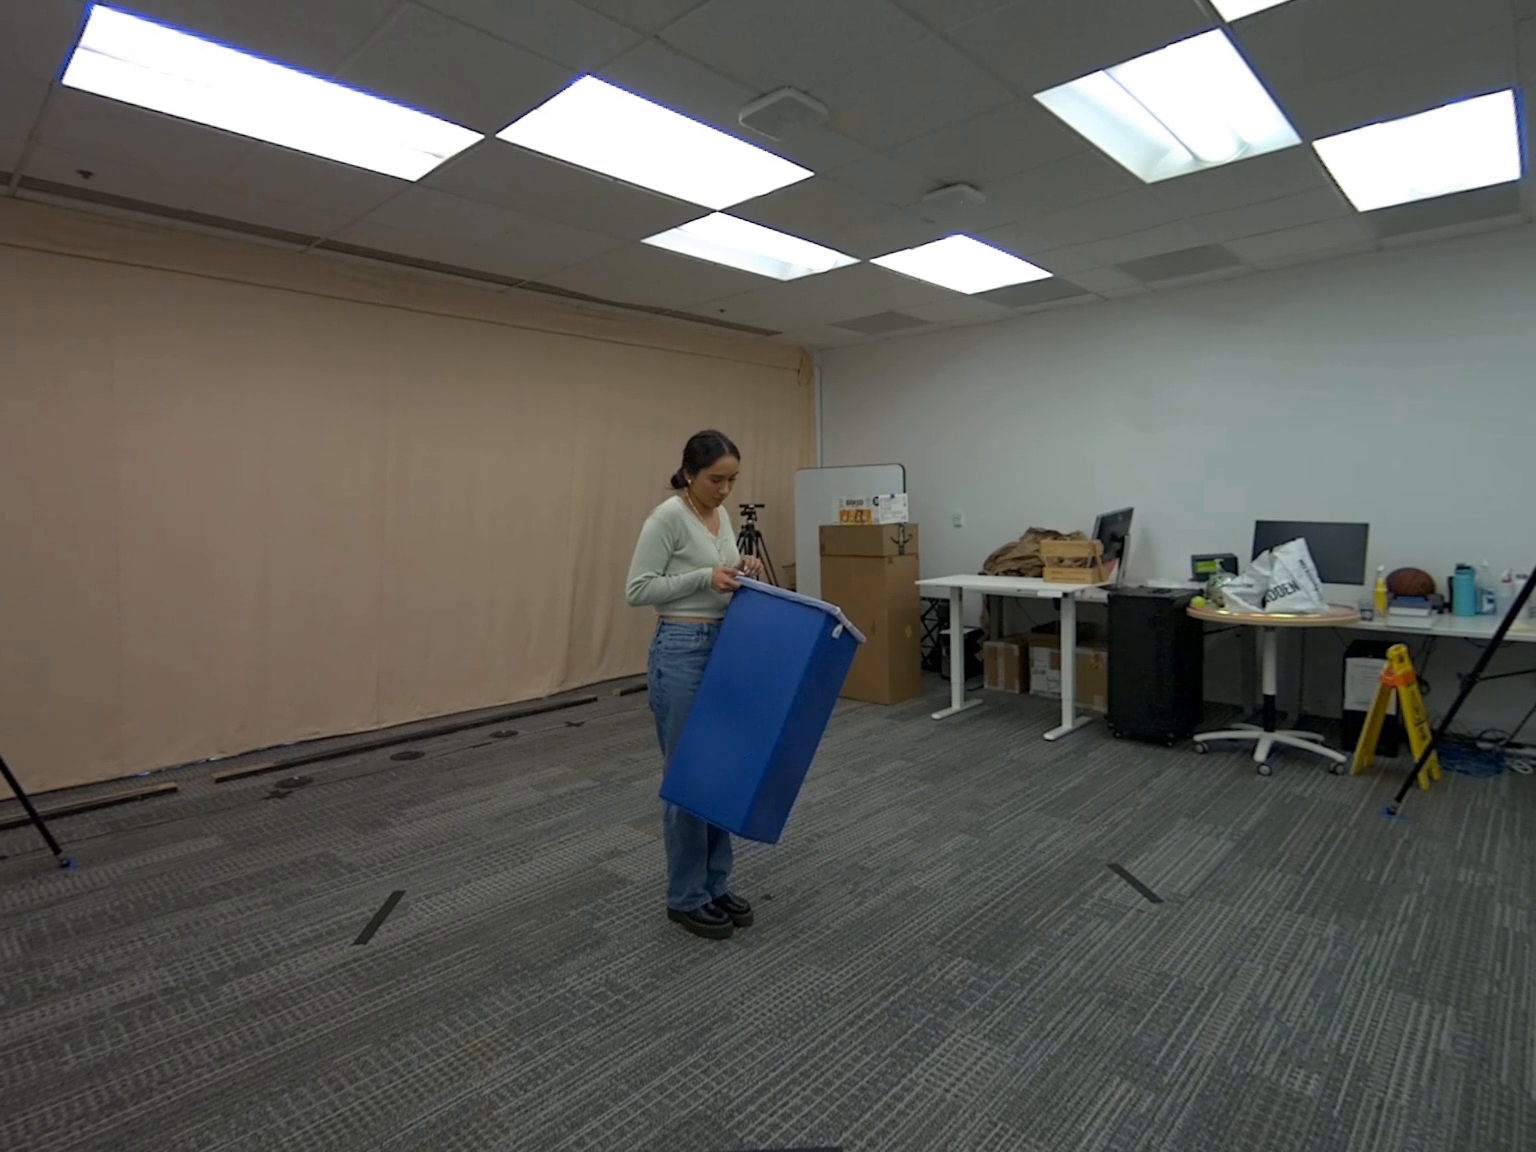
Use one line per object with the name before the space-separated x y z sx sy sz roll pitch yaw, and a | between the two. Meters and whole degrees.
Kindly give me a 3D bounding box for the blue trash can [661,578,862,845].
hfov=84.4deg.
blue trash can | -0.016 0.425 2.638 0.386 0.715 0.365 15 -14 30
